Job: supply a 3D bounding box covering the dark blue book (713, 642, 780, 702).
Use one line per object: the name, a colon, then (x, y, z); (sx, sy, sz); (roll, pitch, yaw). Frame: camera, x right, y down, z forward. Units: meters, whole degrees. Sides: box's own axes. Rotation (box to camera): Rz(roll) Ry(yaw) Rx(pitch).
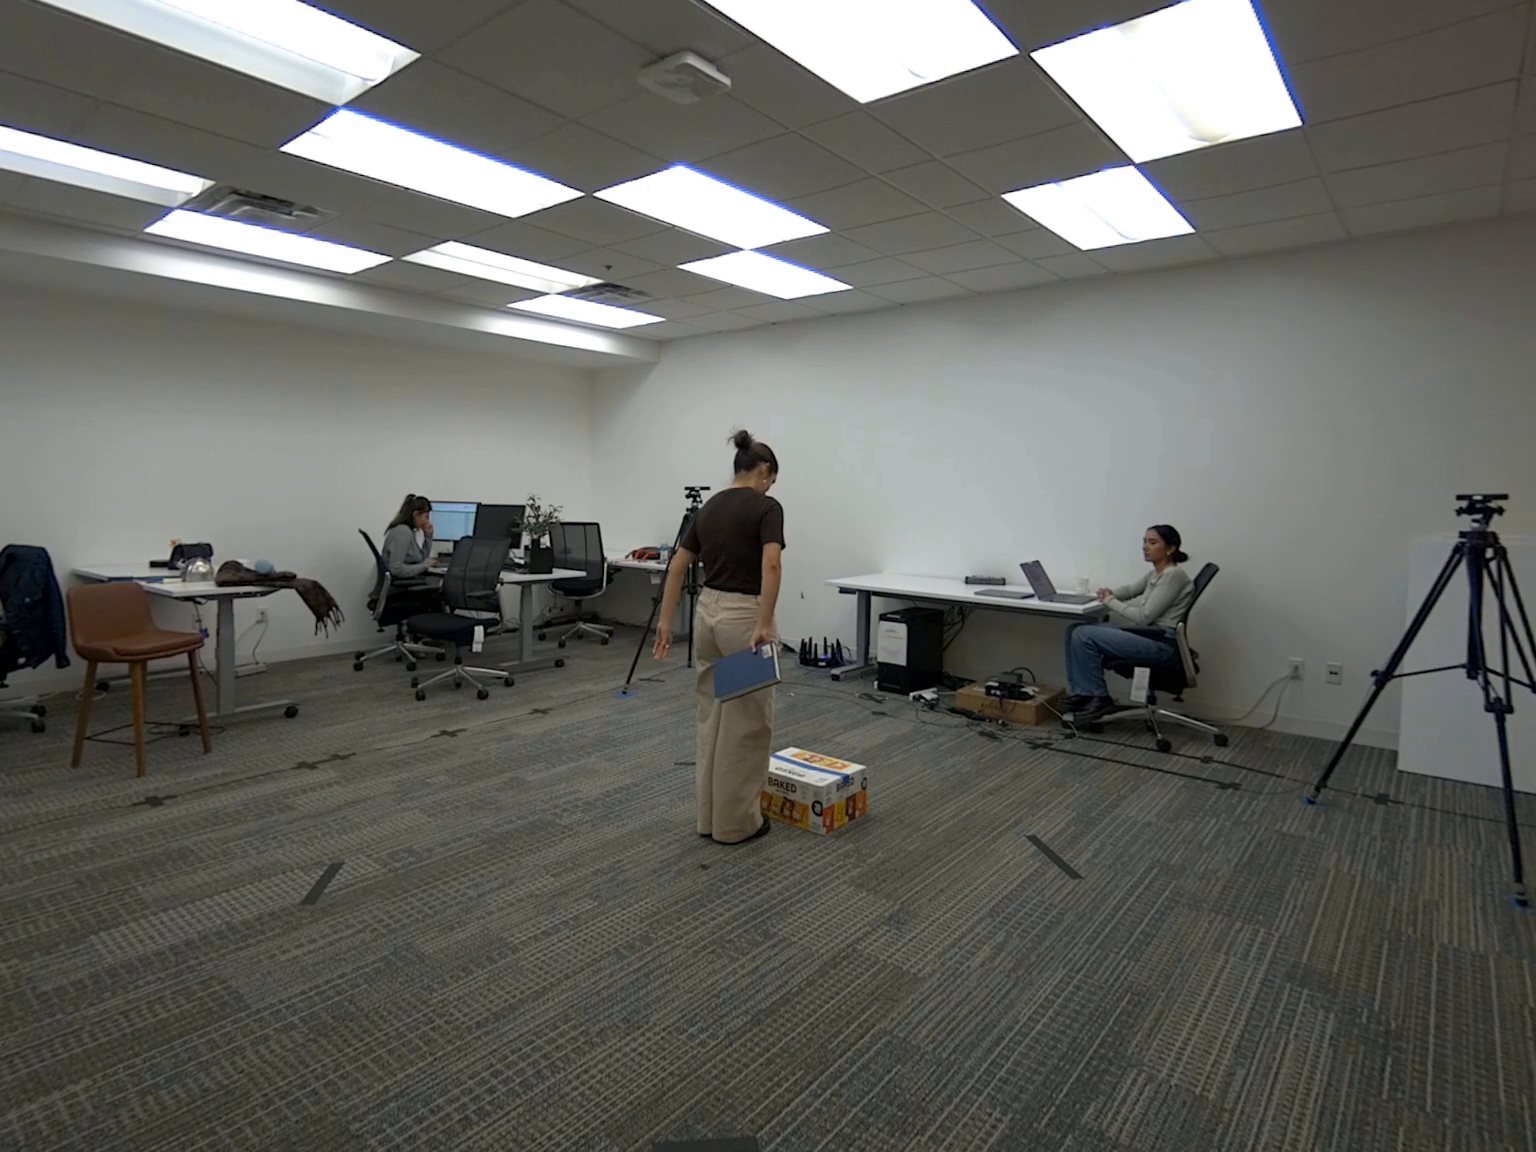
dark blue book: (-0.086, 0.338, 3.062); (0.247, 0.169, 0.043); (-22, -45, 17)
